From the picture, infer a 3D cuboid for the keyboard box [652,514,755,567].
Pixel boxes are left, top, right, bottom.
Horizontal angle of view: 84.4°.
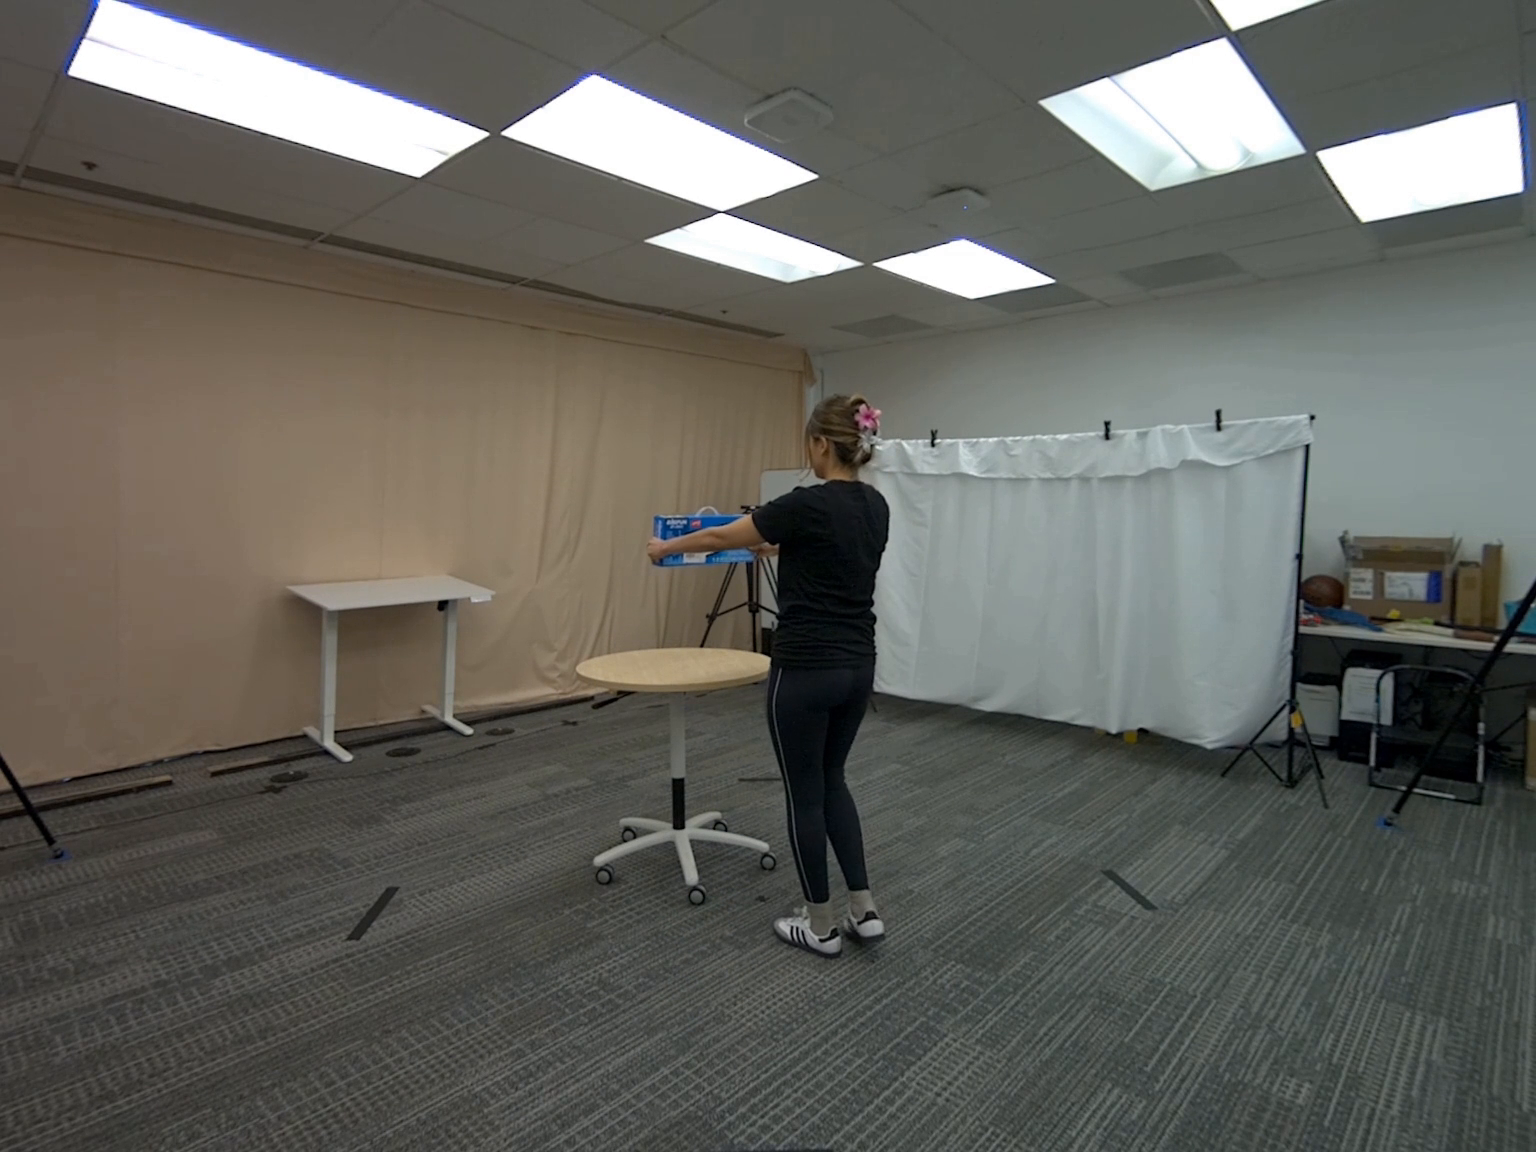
[{"bbox_3d":[-0.215,-0.128,3.039,0.423,0.175,0.061,-4,9,-41],"label":"keyboard box"}]
